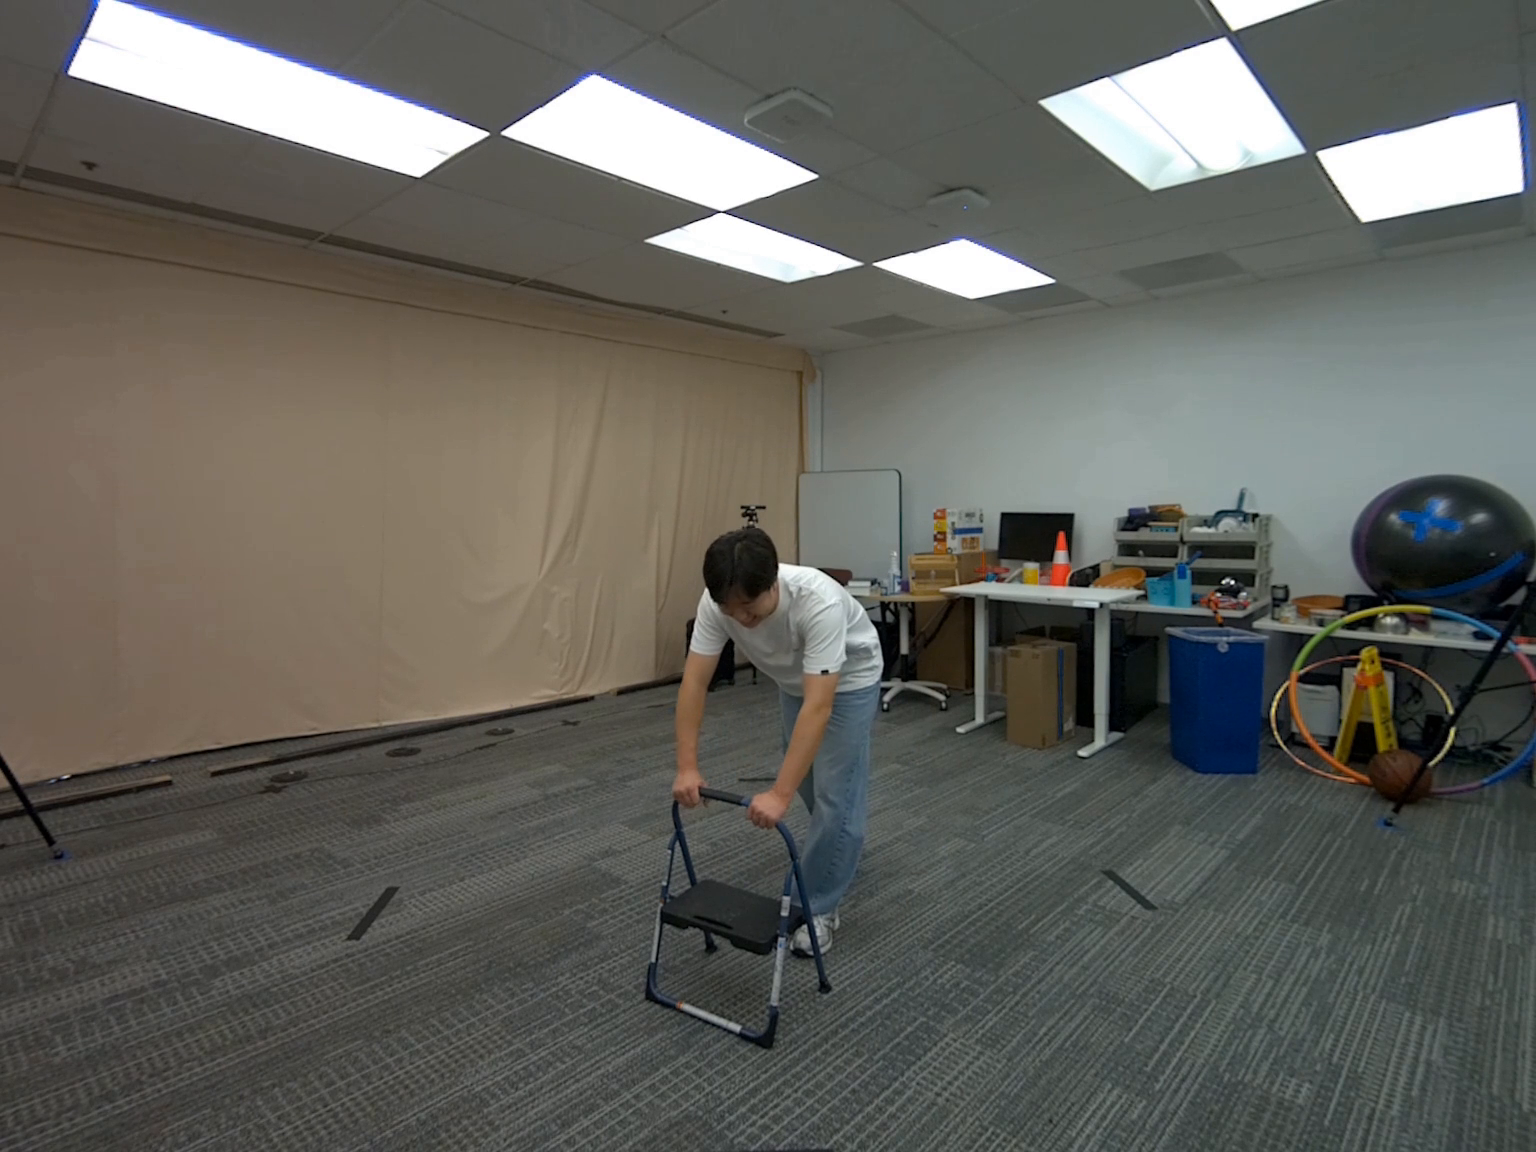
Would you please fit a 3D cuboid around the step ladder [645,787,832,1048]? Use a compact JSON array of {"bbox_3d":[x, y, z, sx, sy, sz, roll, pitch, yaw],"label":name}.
[{"bbox_3d":[-0.087,0.892,2.388,0.443,0.605,0.340,2,4,31],"label":"step ladder"}]
